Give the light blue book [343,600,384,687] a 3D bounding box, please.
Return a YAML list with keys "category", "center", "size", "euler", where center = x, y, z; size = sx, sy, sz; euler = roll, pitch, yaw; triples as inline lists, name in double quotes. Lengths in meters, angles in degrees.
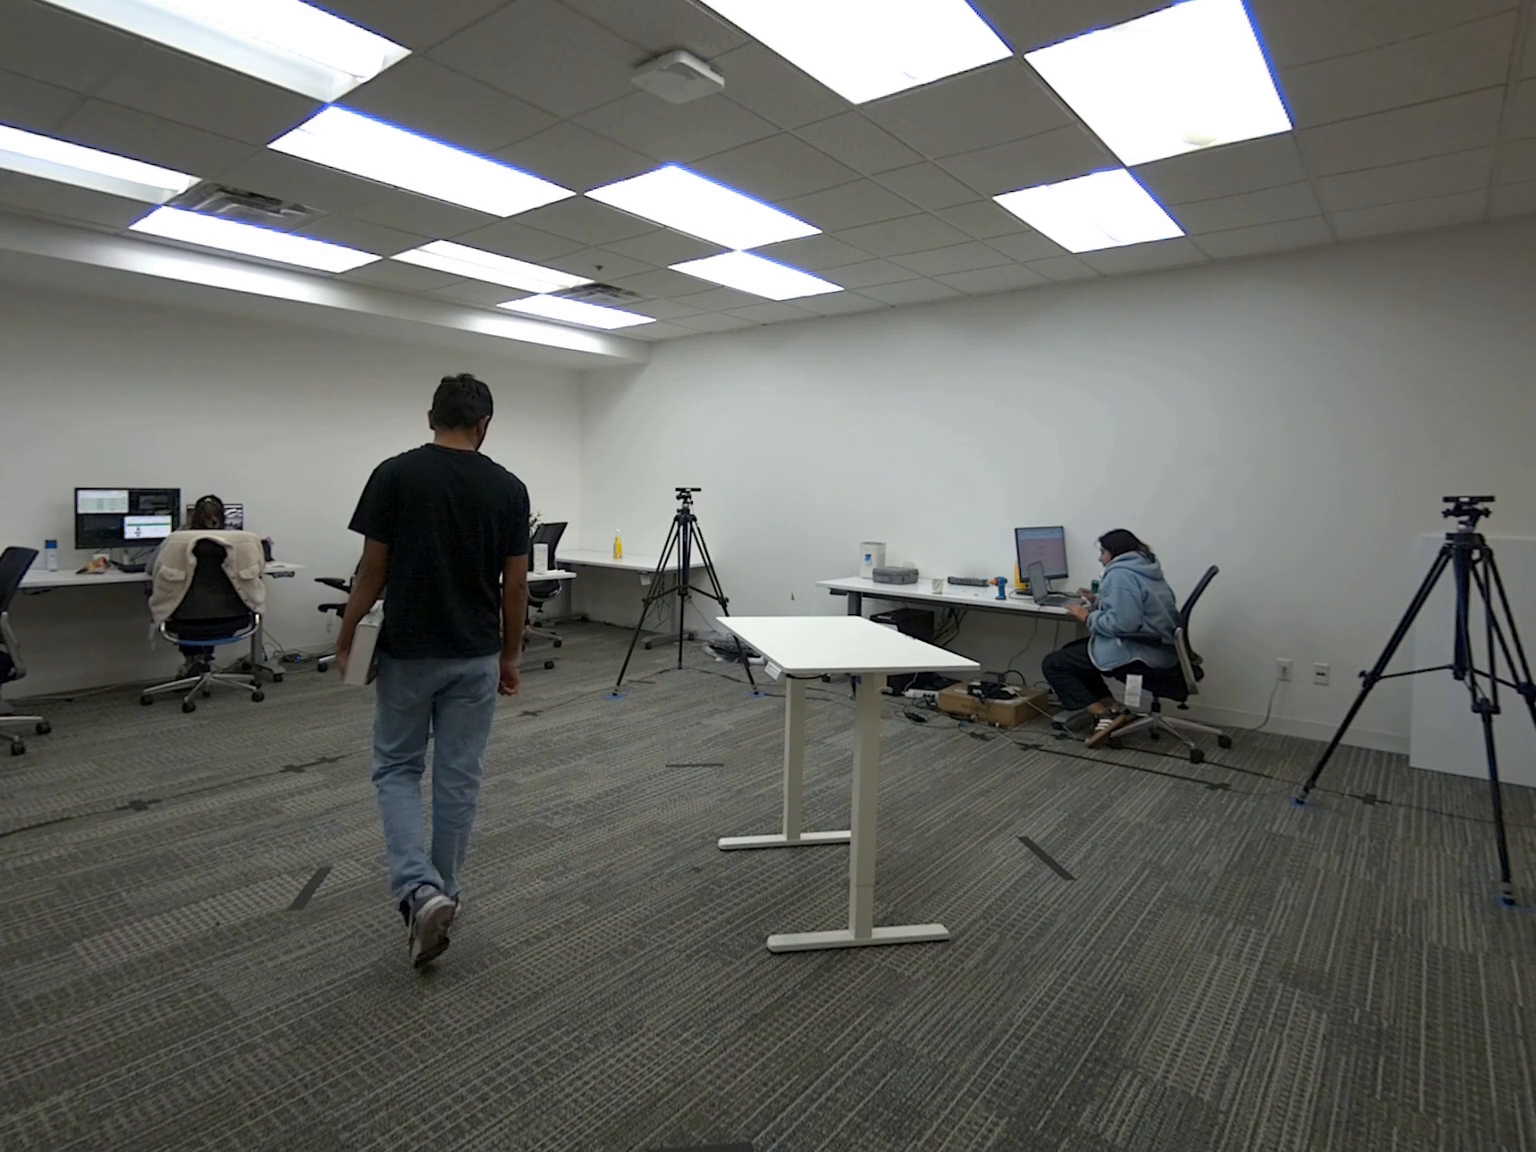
- category: "light blue book"
  center: [-1.181, 0.194, 2.511]
  size: [0.058, 0.190, 0.267]
  euler: [15, 10, -16]
